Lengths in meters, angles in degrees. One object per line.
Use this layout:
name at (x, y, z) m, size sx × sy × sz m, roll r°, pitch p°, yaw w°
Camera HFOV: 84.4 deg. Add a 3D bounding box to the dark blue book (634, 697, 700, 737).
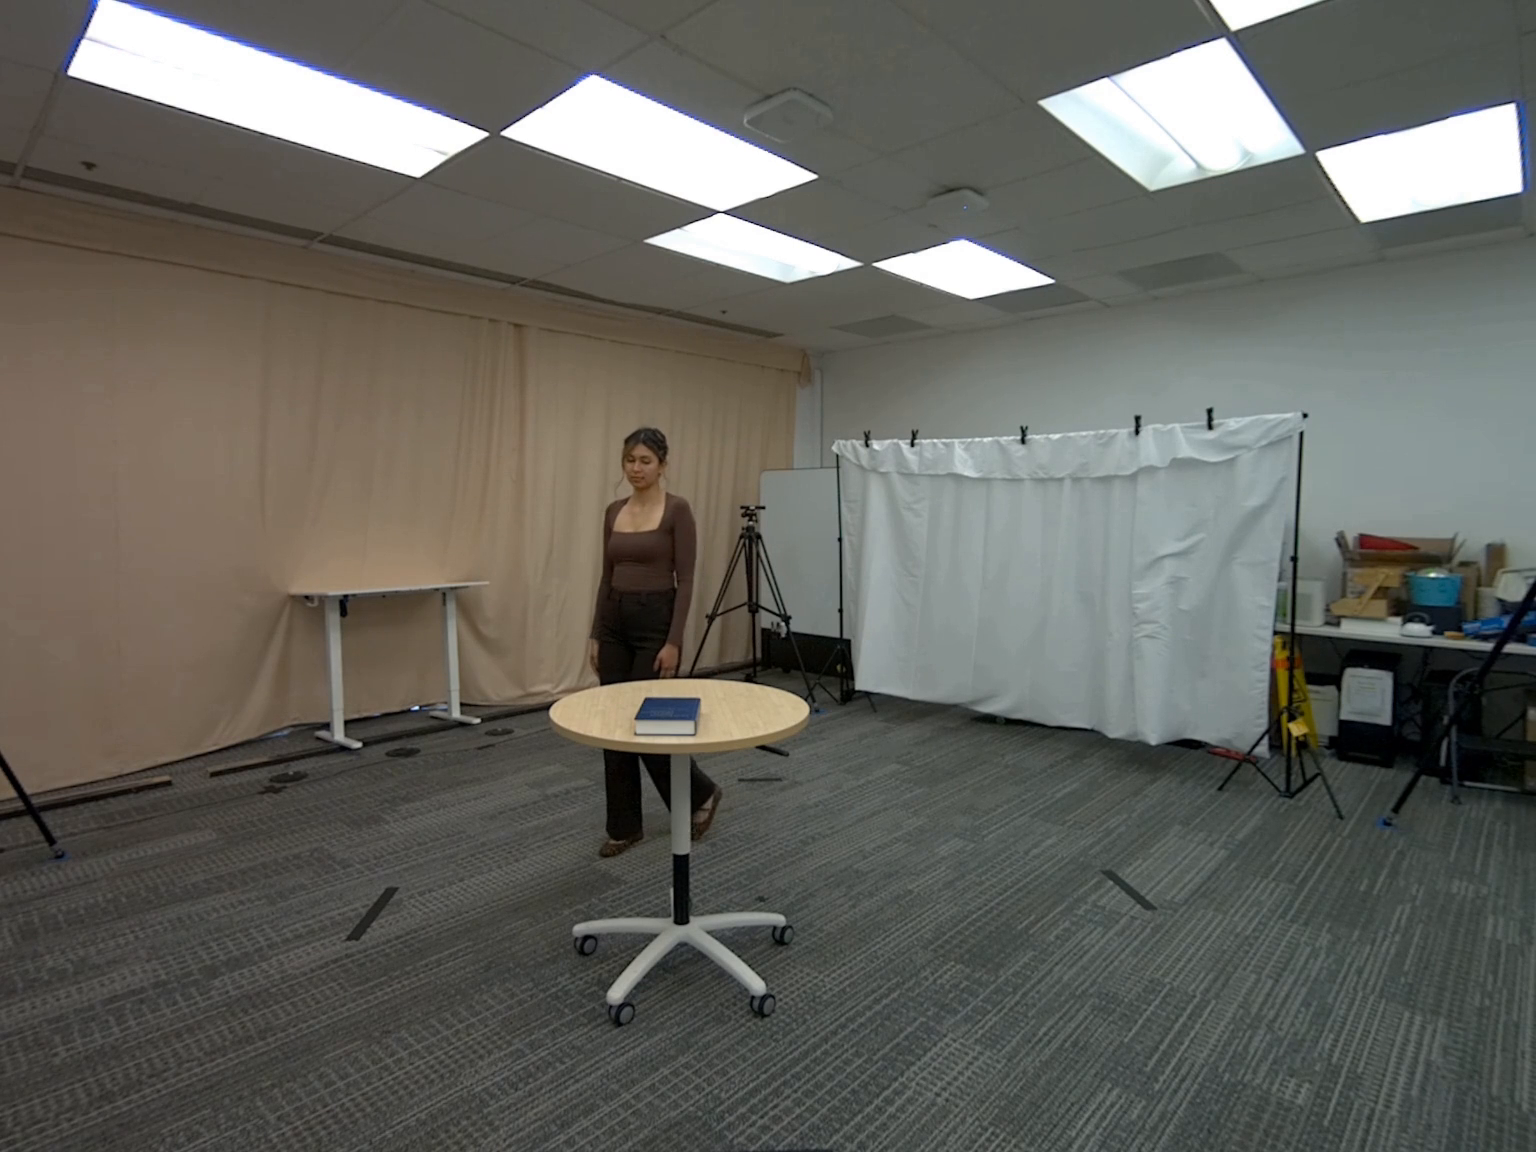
dark blue book at (-0.266, 0.386, 2.299) m, size 0.163 × 0.045 × 0.246 m, roll -1°, pitch 4°, yaw -1°
